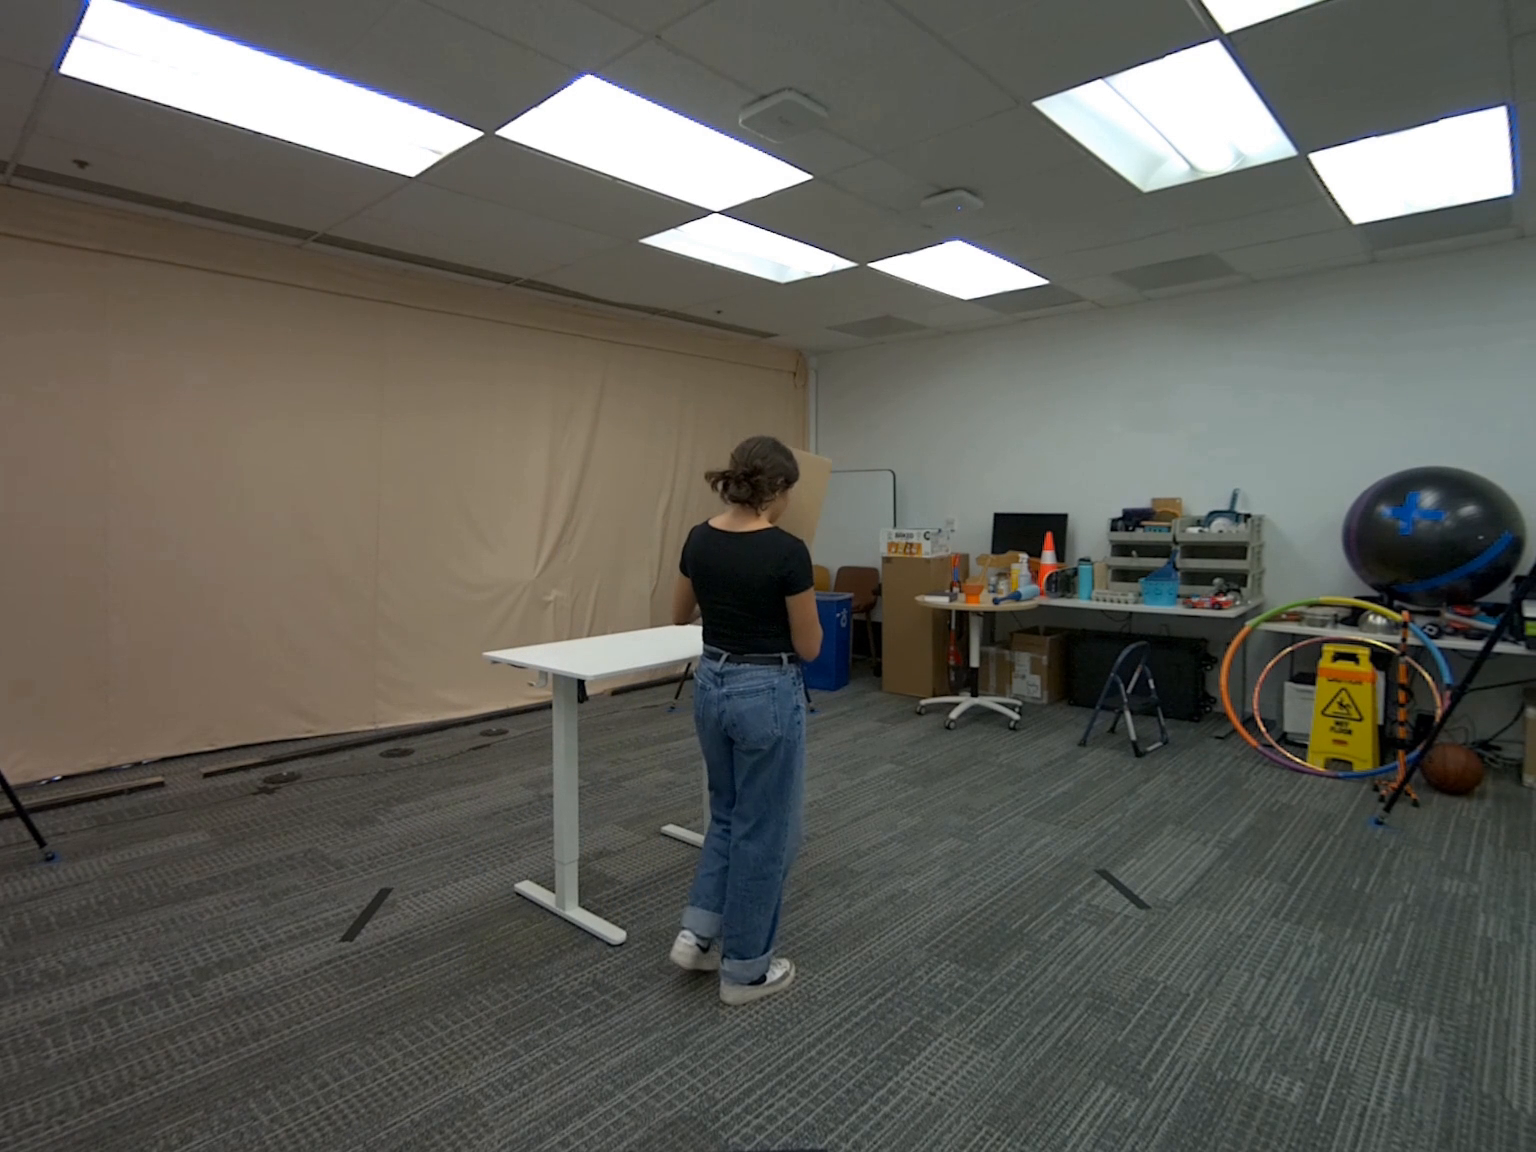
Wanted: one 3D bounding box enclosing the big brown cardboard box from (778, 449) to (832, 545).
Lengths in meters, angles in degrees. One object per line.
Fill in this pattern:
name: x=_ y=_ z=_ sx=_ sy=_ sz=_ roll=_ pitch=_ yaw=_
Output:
big brown cardboard box: x=-0.005 y=-0.095 z=2.740 sx=0.231 sy=0.591 sz=0.419 roll=17 pitch=-11 yaw=-8
